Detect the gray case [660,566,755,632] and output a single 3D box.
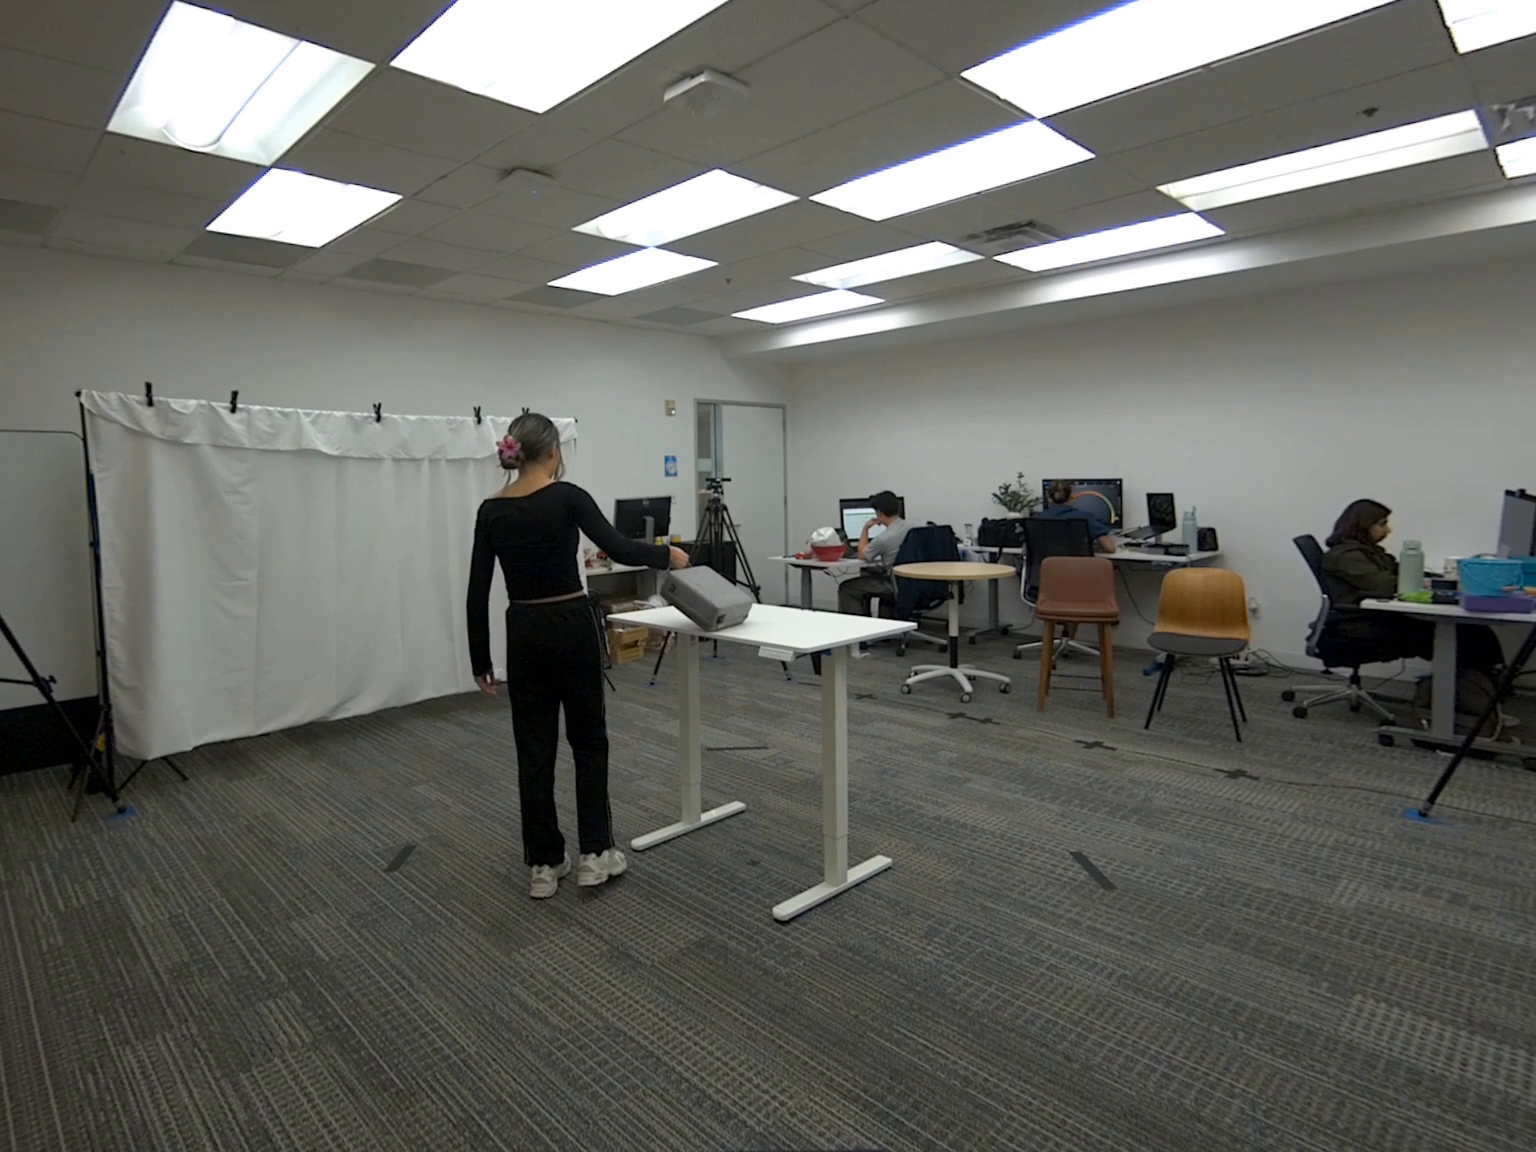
[{"bbox_3d":[-0.202,0.070,2.988,0.268,0.103,0.251,36,22,23],"label":"gray case"}]
